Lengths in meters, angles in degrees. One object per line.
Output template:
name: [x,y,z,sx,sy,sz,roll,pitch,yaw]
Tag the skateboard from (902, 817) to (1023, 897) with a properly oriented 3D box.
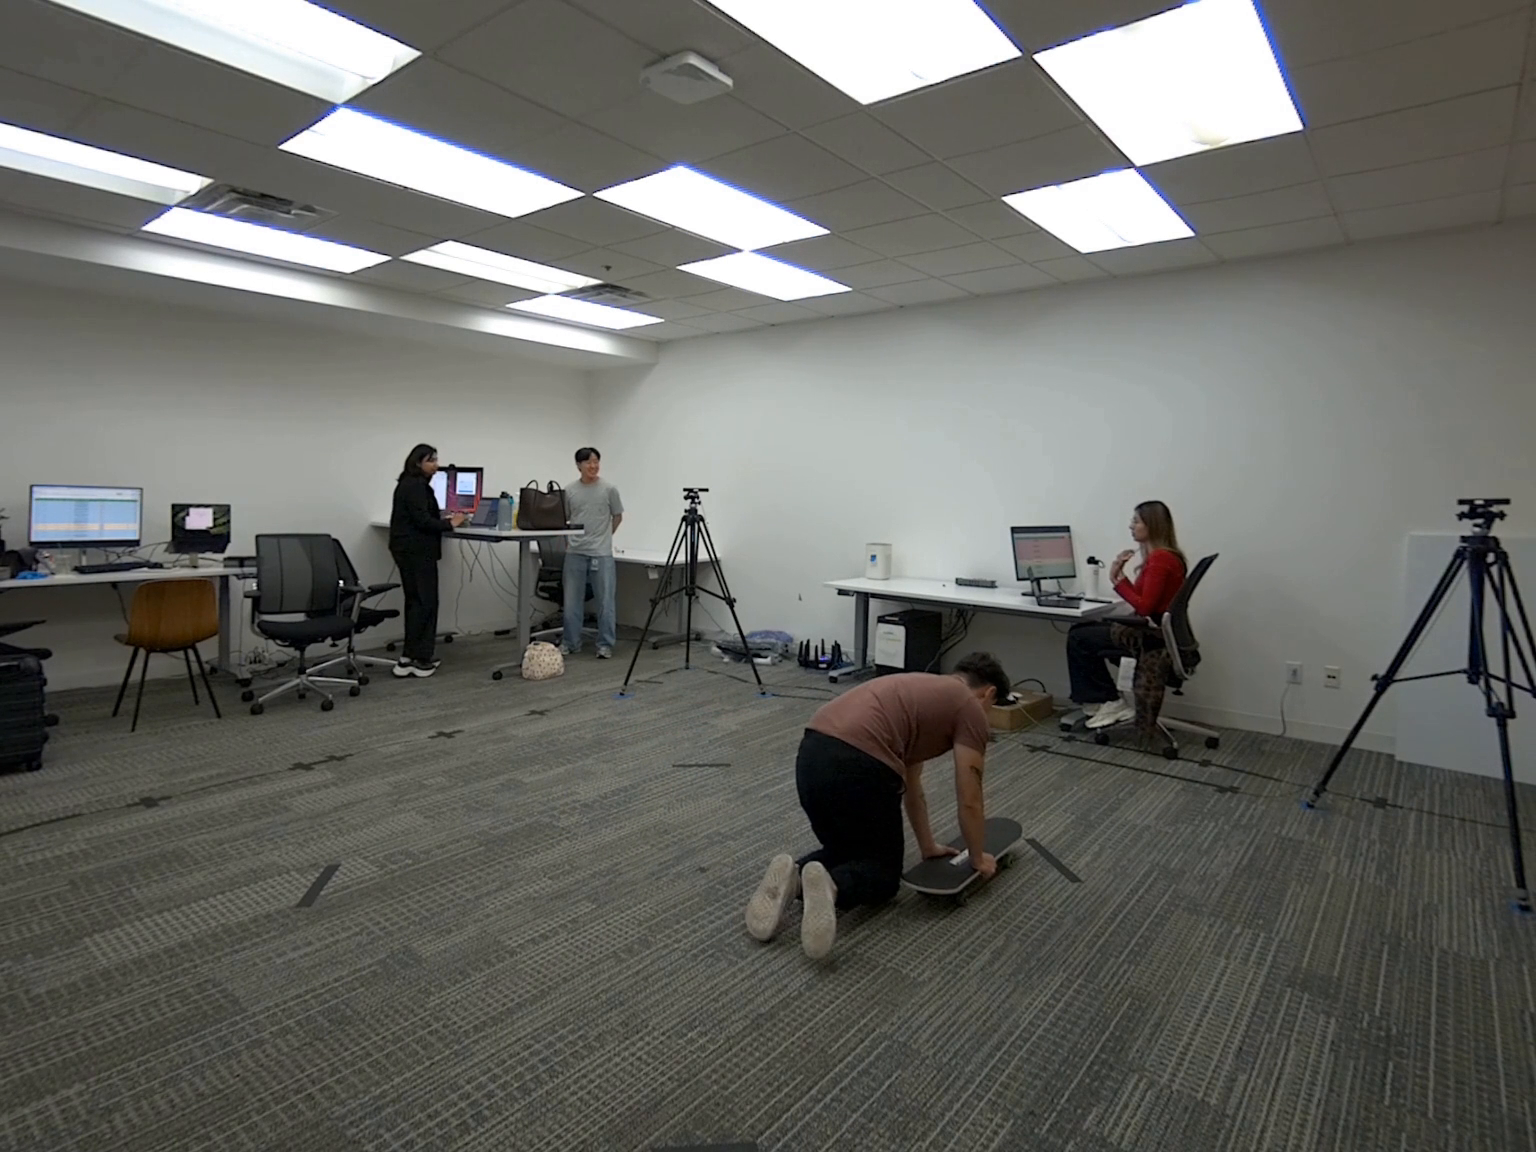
skateboard: [0.714,1.043,3.089,0.200,0.110,0.763,2,6,37]
